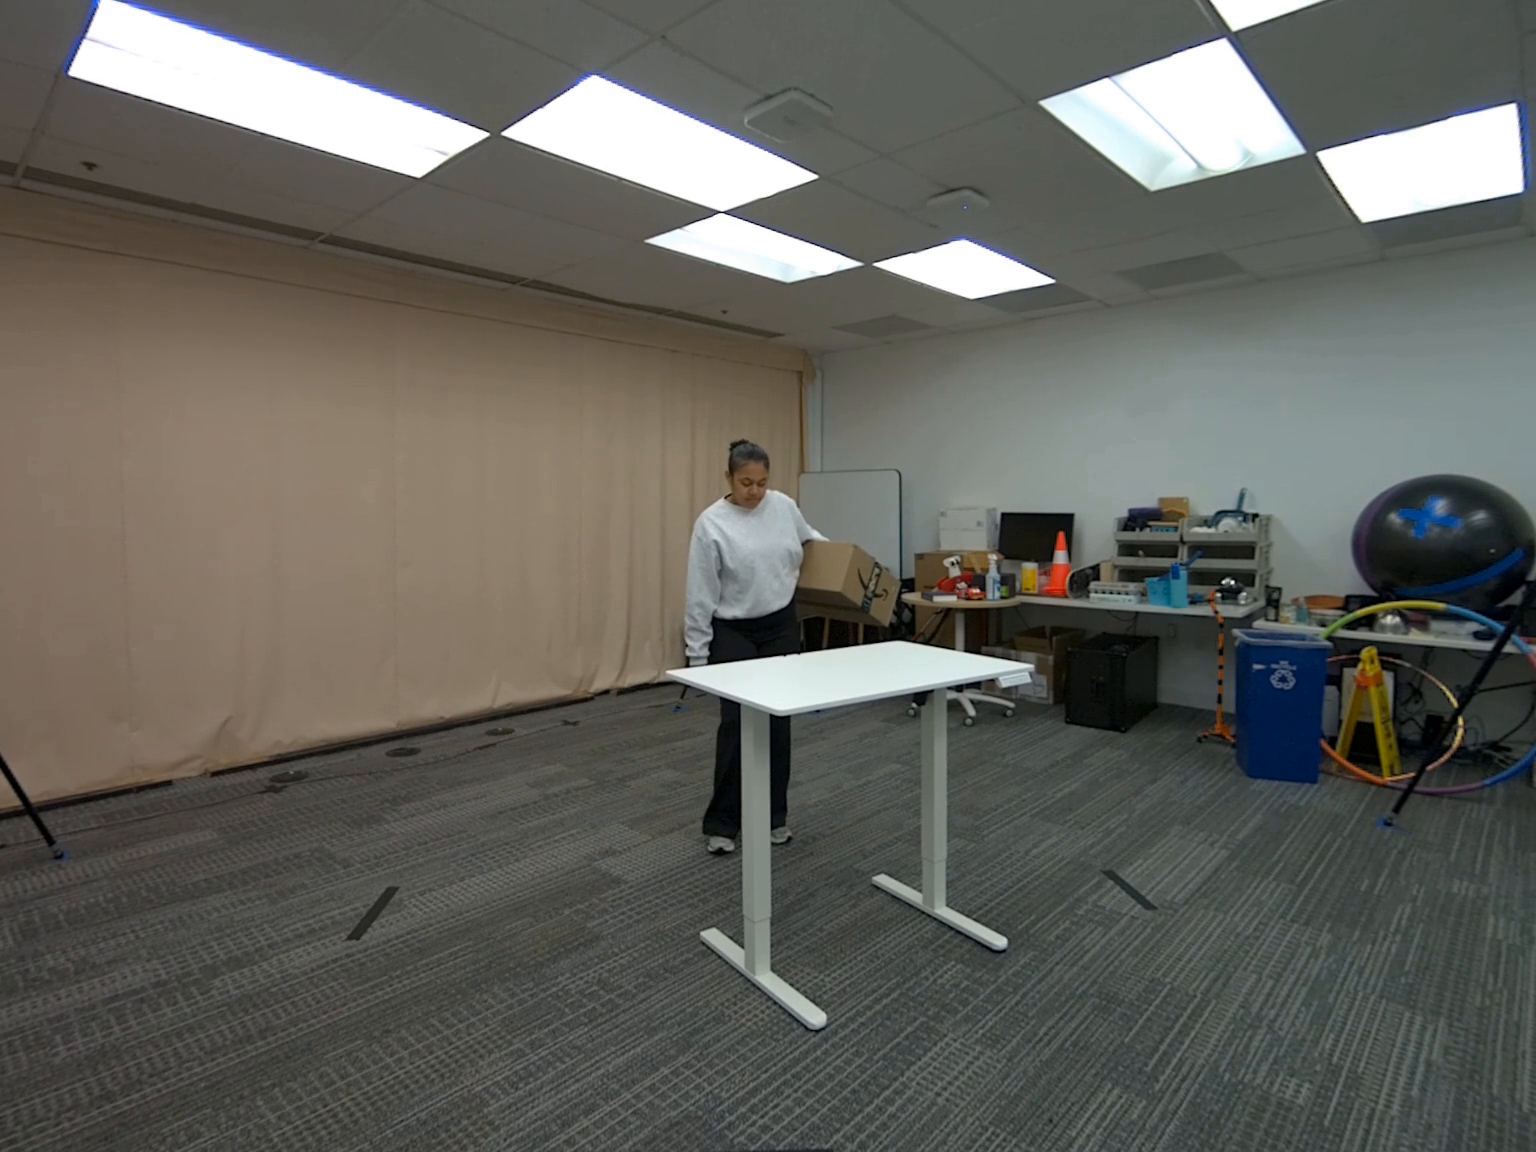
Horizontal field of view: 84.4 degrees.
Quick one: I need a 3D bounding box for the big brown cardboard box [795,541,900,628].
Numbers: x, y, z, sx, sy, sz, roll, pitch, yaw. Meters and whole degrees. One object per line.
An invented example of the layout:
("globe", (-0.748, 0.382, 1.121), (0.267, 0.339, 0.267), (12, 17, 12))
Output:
("big brown cardboard box", (0.216, 0.023, 3.702), (0.609, 0.234, 0.402), (5, -21, 40))
